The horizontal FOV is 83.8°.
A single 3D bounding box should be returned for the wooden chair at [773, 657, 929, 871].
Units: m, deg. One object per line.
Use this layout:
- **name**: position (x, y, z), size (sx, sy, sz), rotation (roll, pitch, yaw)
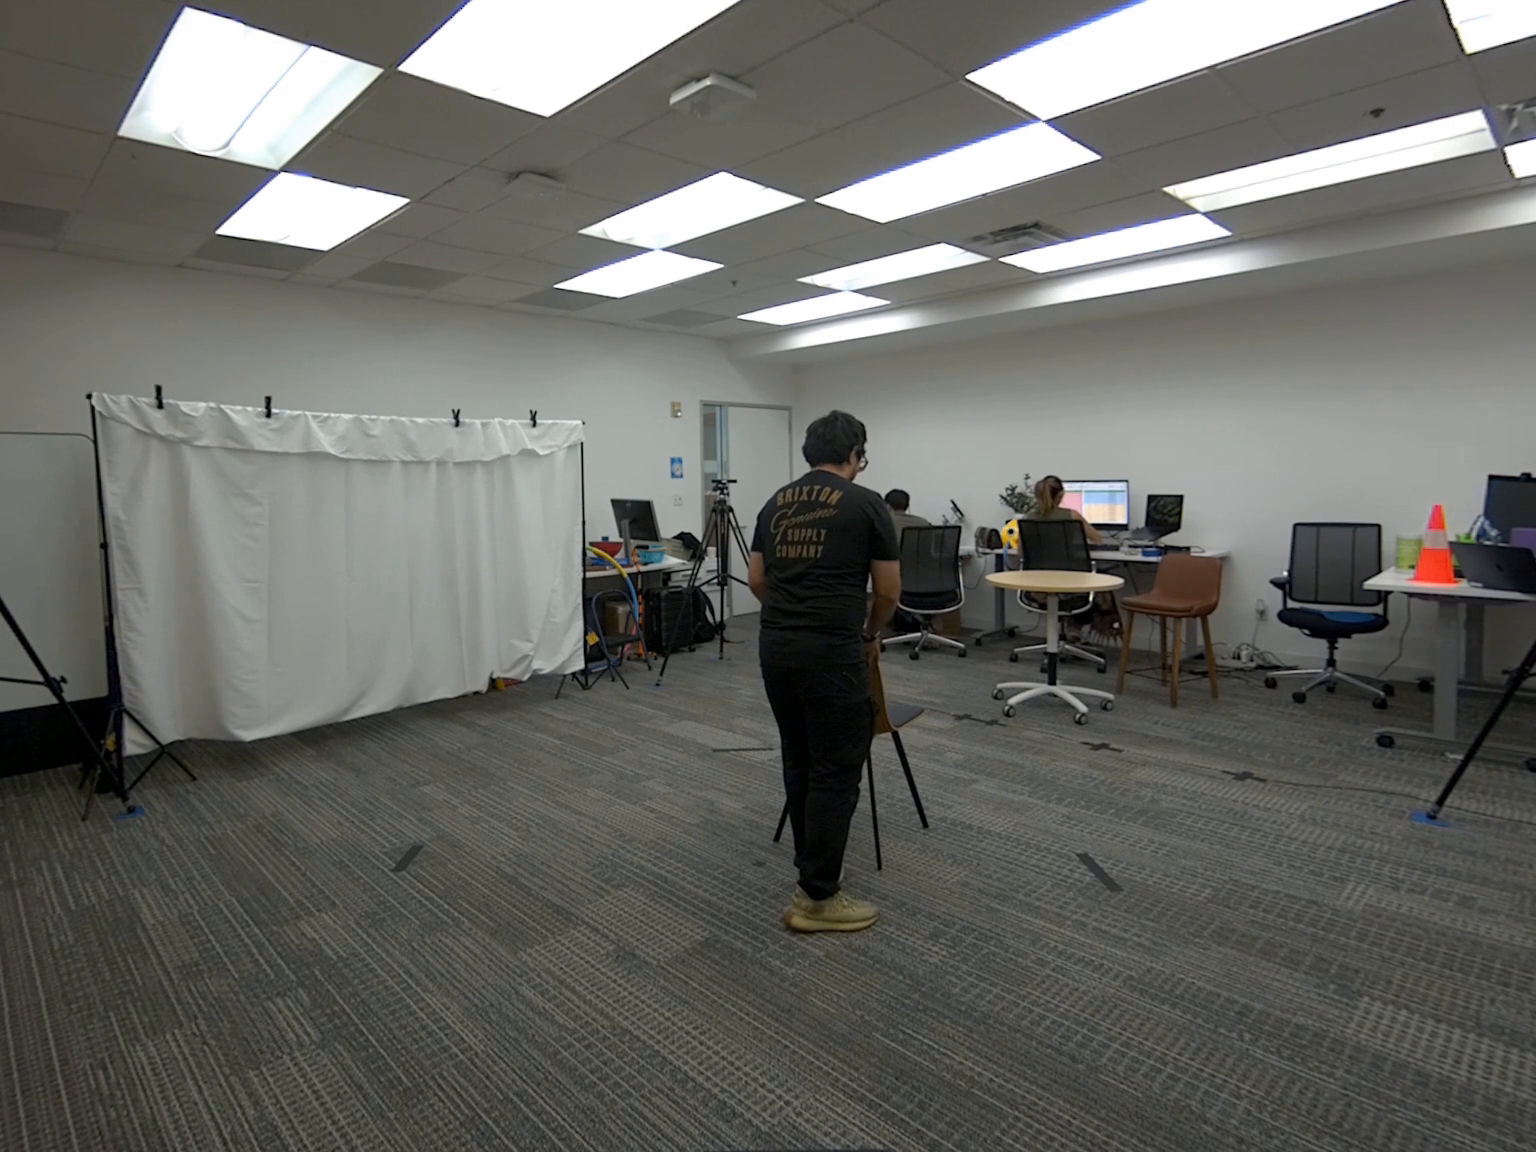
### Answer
- **wooden chair**: position (0.327, 0.587, 3.330), size (0.491, 0.871, 0.512), rotation (1, 9, 34)
